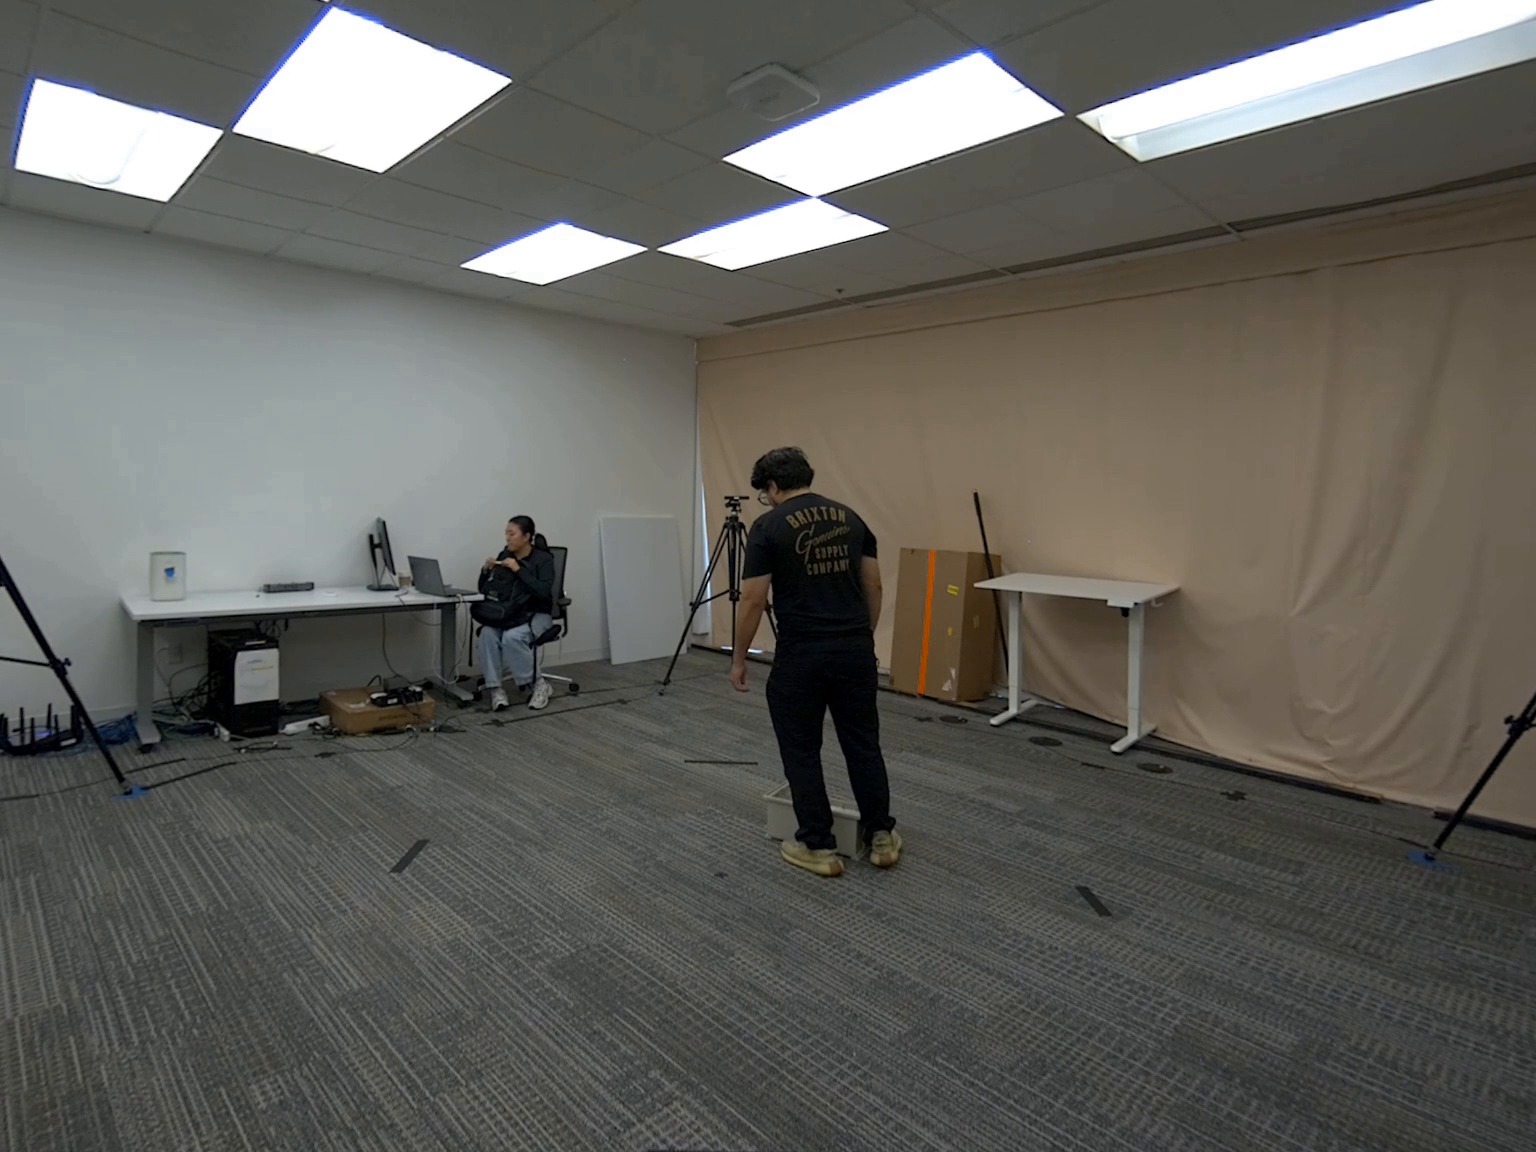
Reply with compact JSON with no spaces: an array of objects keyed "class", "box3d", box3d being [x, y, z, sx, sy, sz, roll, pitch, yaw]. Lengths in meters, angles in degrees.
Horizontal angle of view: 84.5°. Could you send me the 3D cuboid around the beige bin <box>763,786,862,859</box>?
[{"class":"beige bin","box3d":[0.242,0.991,3.505,0.431,0.188,0.370,4,5,28]}]
